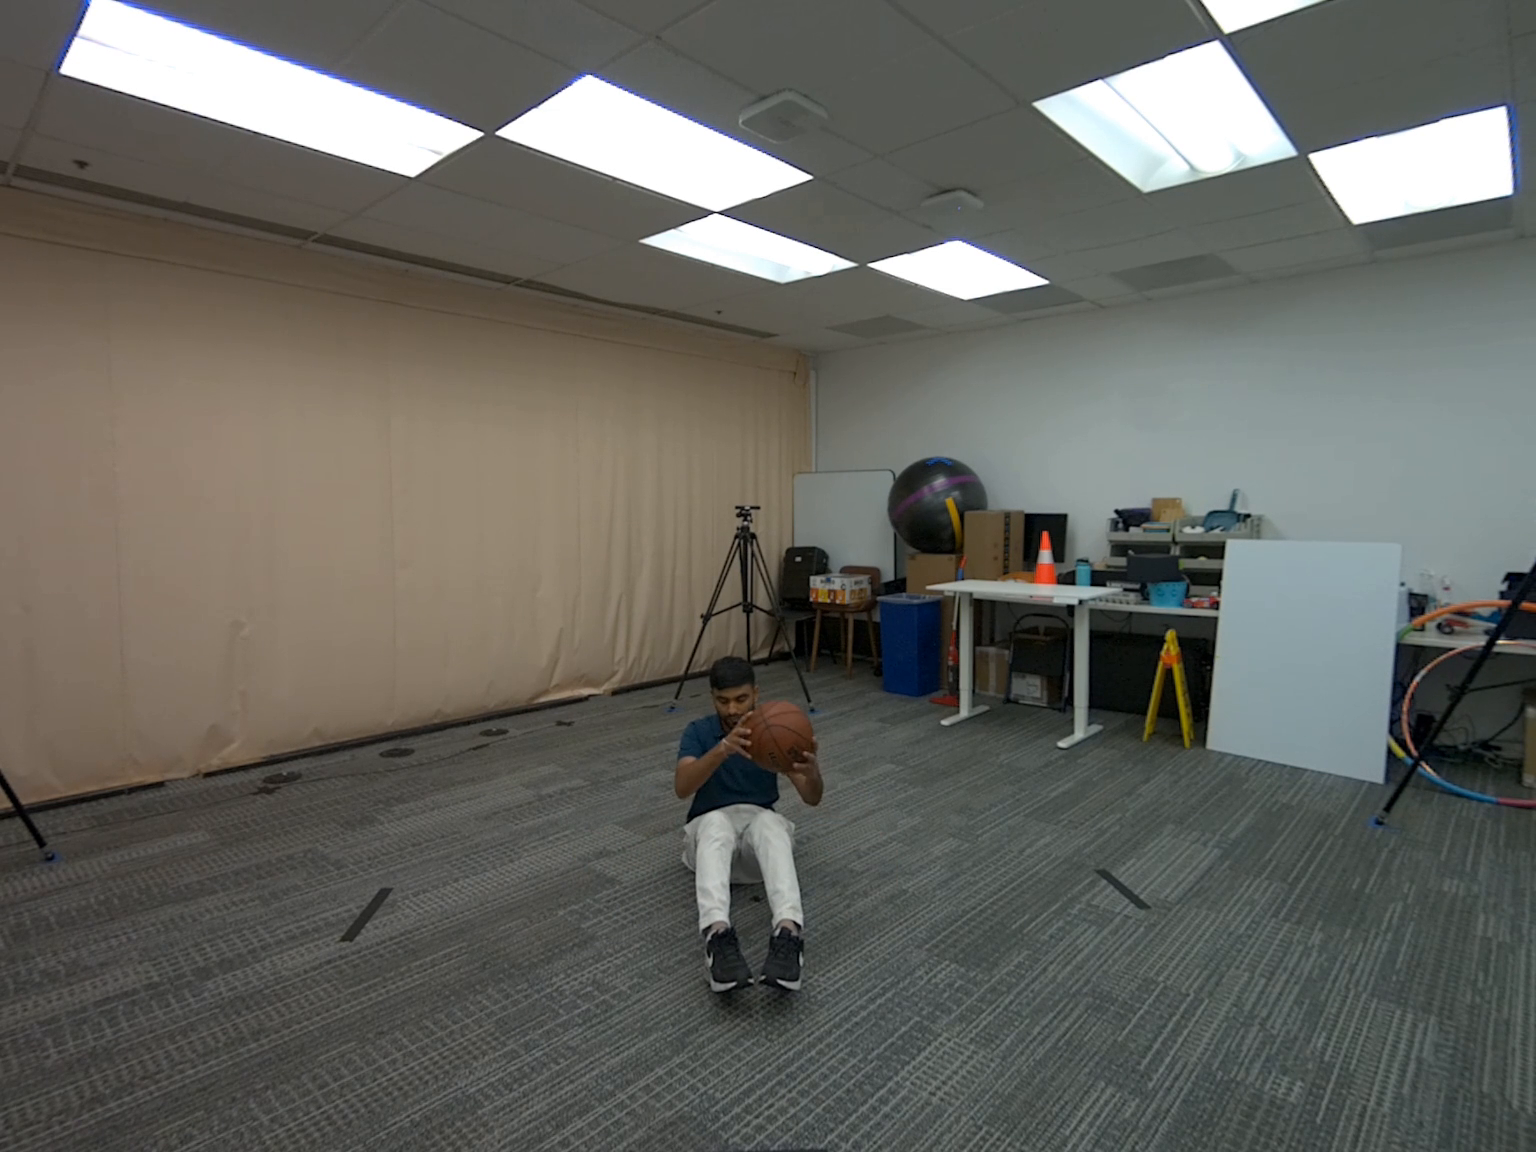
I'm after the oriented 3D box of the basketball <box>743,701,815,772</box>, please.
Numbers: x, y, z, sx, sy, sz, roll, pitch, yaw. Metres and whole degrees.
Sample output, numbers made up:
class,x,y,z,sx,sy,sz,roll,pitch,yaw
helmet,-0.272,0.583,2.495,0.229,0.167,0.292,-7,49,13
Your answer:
class,x,y,z,sx,sy,sz,roll,pitch,yaw
basketball,0.033,0.557,2.841,0.236,0.235,0.237,0,4,-2
